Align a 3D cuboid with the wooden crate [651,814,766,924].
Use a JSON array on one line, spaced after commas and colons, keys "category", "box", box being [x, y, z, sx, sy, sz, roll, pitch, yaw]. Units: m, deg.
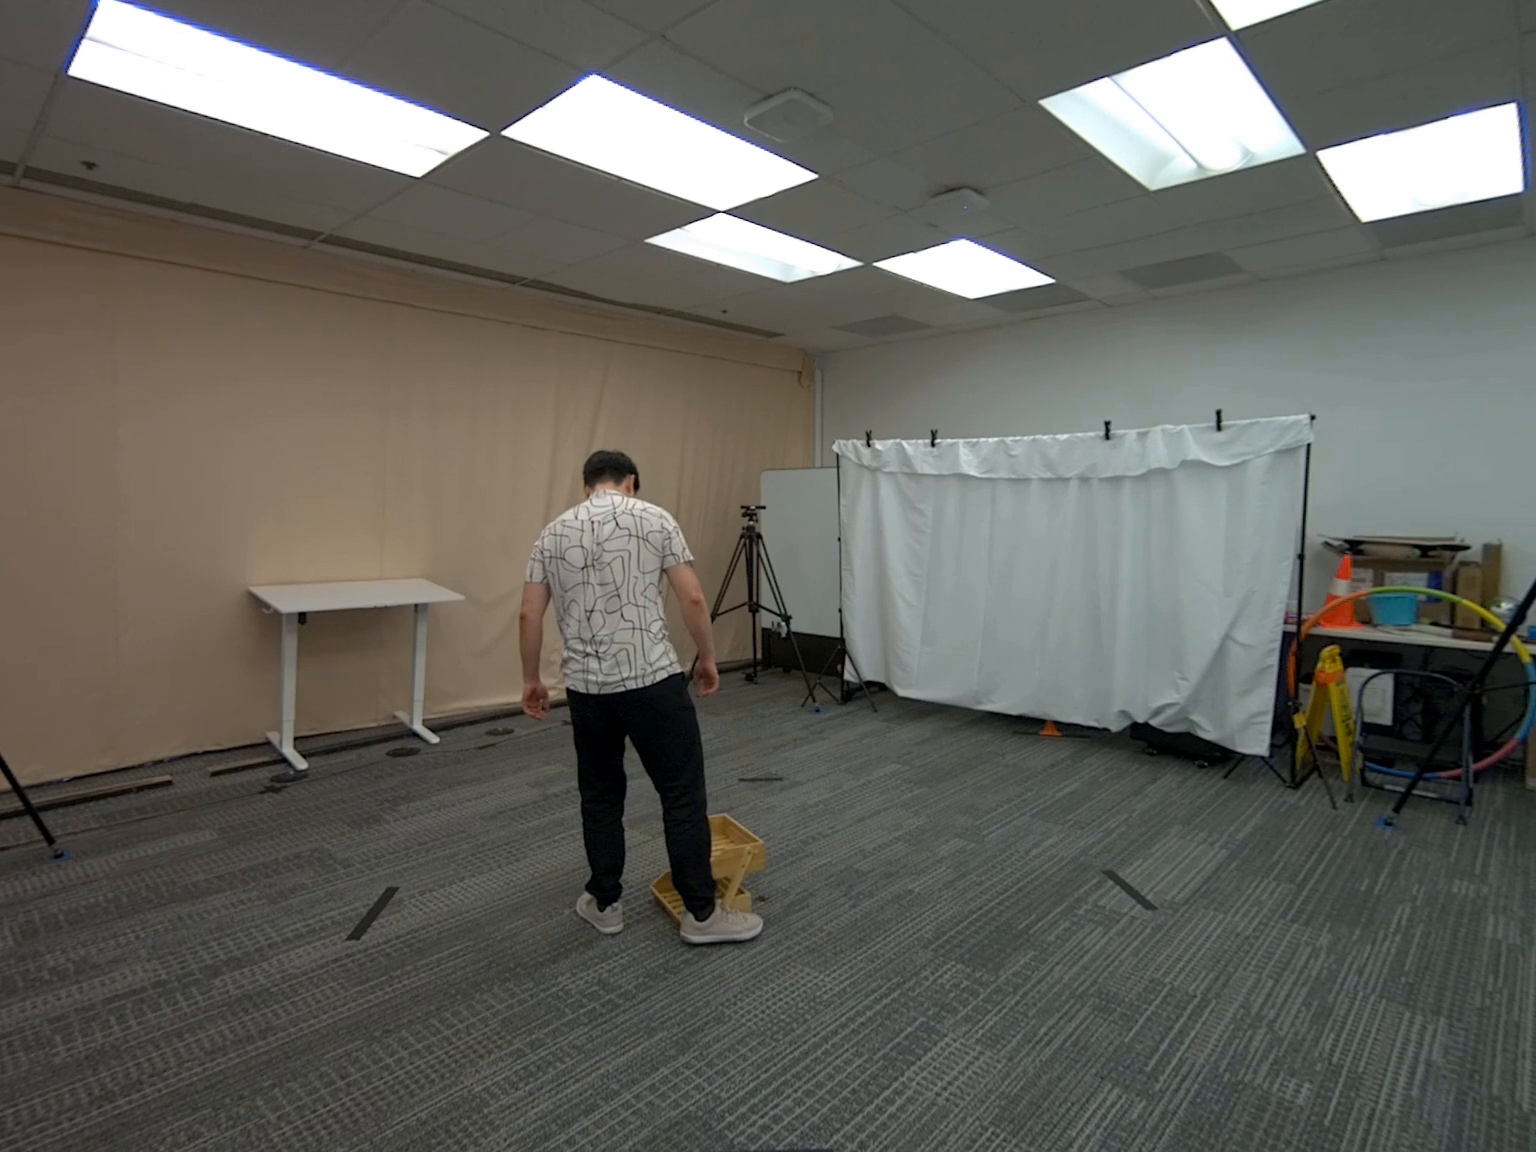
[{"category": "wooden crate", "box": [-0.218, 1.014, 2.908, 0.294, 0.273, 0.333, -2, 4, -27]}]
